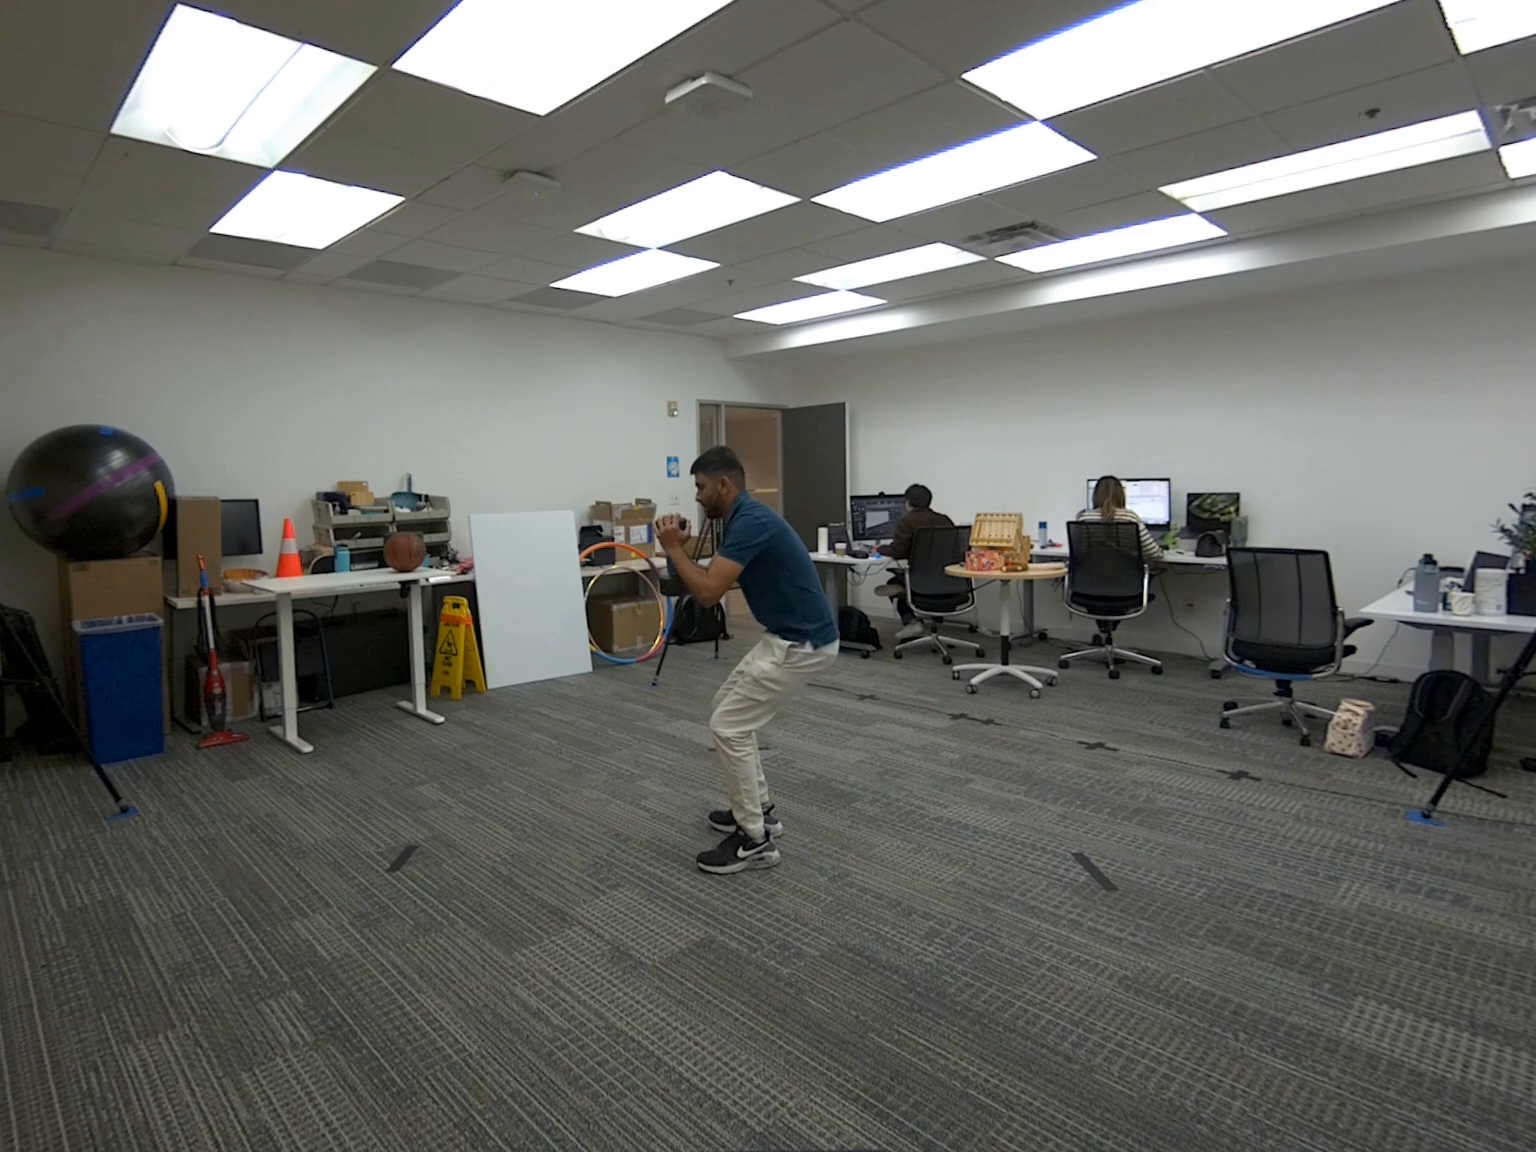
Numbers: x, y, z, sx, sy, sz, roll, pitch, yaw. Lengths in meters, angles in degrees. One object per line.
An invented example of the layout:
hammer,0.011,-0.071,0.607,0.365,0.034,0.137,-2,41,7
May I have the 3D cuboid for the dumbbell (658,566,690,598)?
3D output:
dumbbell,-0.347,-0.070,3.217,0.123,0.292,0.109,-4,6,1
